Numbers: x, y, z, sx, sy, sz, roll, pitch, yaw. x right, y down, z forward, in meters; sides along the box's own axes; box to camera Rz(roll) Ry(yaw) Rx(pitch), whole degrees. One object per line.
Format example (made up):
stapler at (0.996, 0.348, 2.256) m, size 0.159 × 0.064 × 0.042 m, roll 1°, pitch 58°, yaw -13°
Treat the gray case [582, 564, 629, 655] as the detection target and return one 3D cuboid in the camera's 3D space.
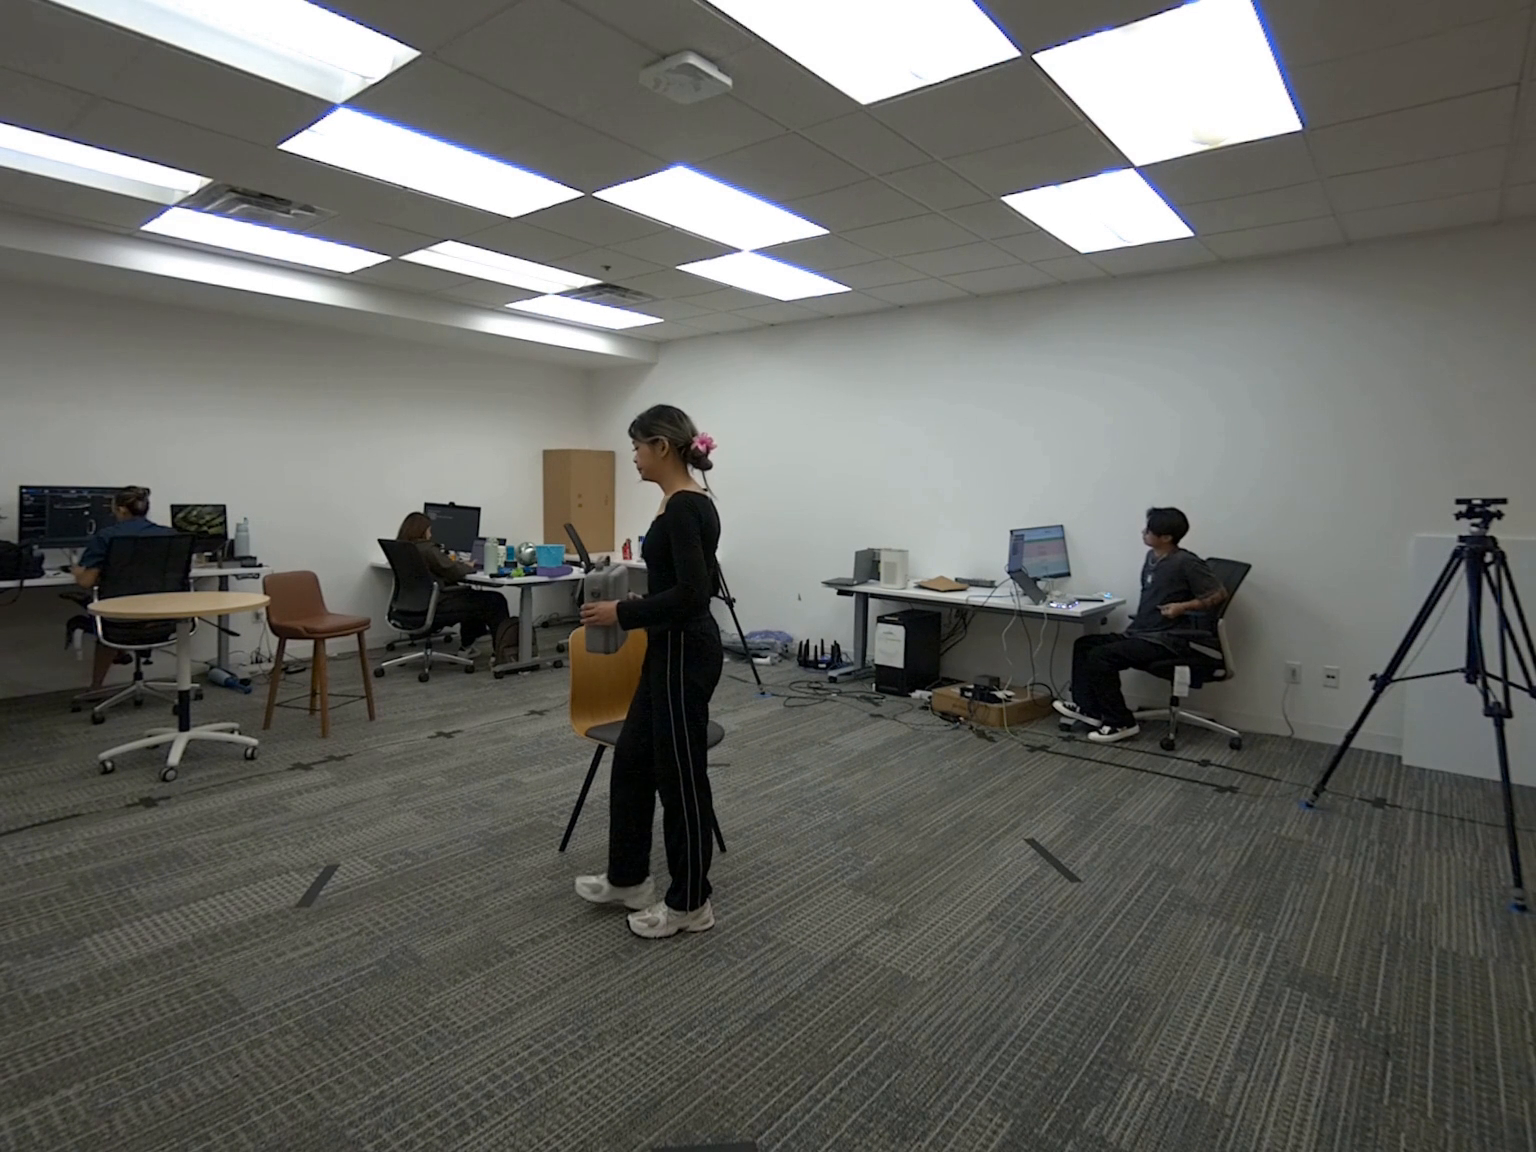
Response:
gray case at (-0.518, 0.097, 2.681) m, size 0.104 × 0.259 × 0.259 m, roll -1°, pitch 7°, yaw -1°
